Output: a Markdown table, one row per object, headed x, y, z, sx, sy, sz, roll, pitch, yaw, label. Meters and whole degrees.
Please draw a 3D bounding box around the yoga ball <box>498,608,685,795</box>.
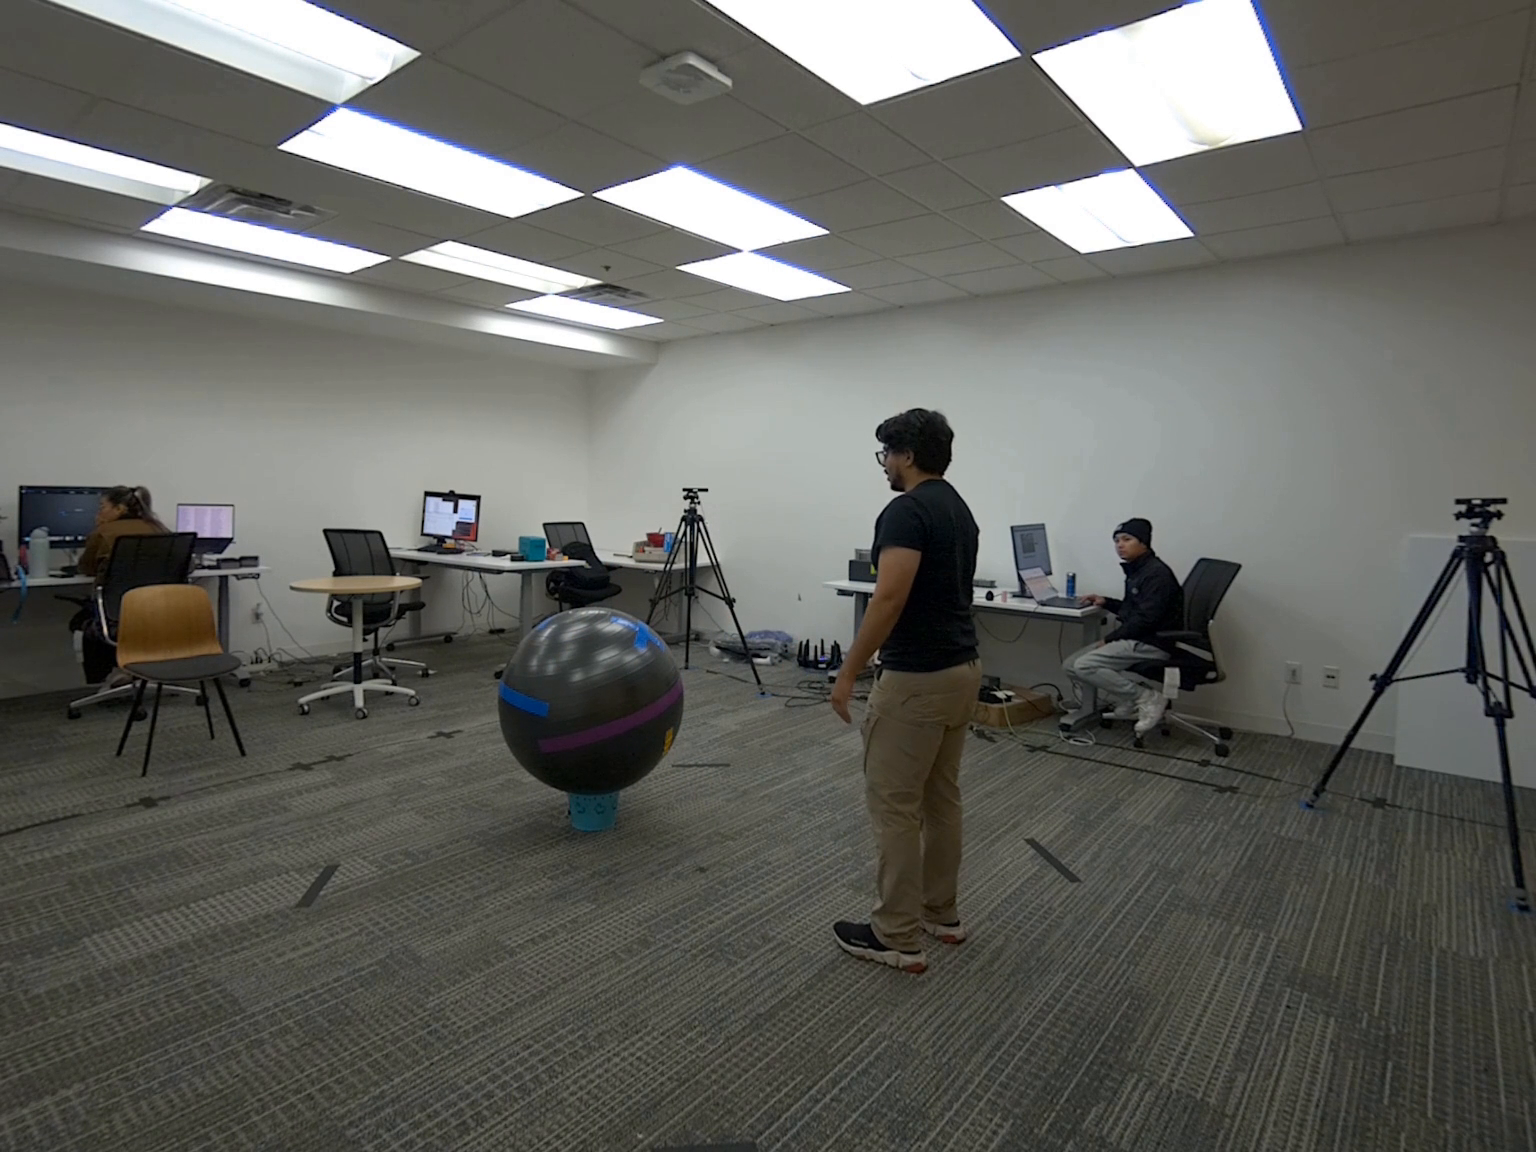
| x | y | z | sx | sy | sz | roll | pitch | yaw | label |
| --- | --- | --- | --- | --- | --- | --- | --- | --- | --- |
| -0.745 | 0.514 | 3.510 | 0.757 | 0.756 | 0.761 | 1 | 4 | -2 | yoga ball |
